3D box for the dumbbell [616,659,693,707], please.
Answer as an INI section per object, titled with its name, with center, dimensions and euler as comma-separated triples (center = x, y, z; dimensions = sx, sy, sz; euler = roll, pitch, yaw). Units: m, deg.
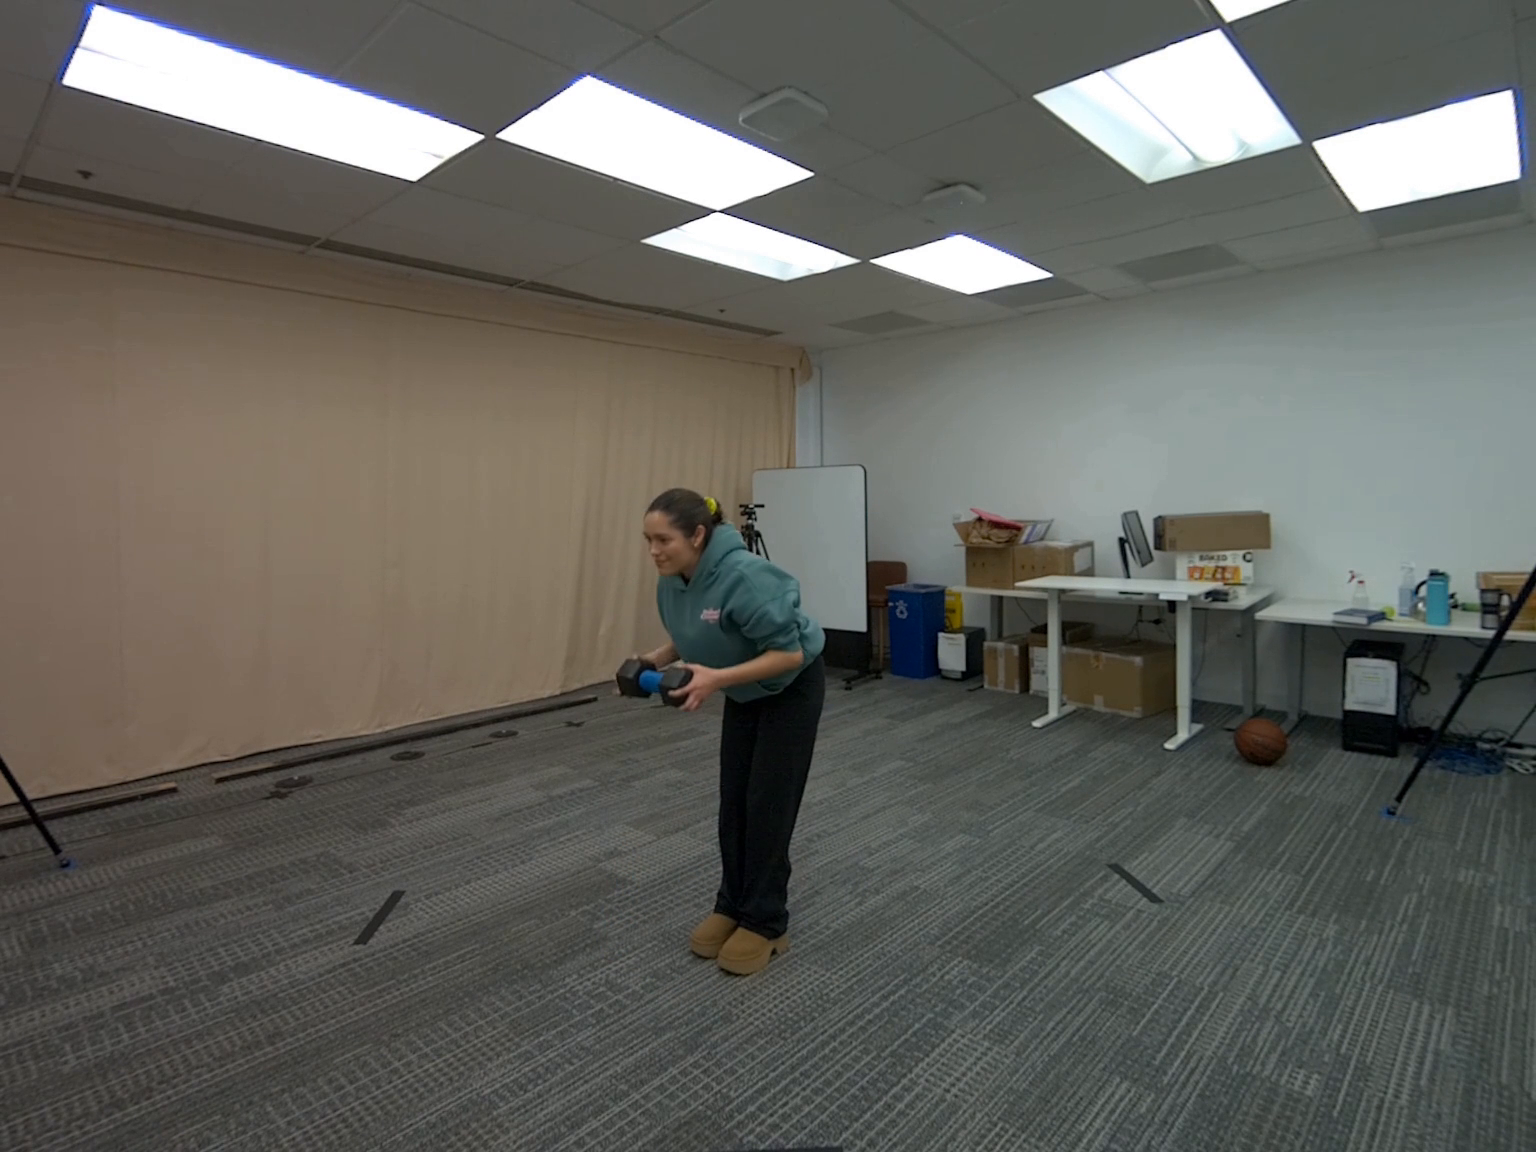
[dumbbell]
center = -0.305, 0.311, 2.424
dimensions = 0.303, 0.123, 0.105
euler = 2, -38, 48
